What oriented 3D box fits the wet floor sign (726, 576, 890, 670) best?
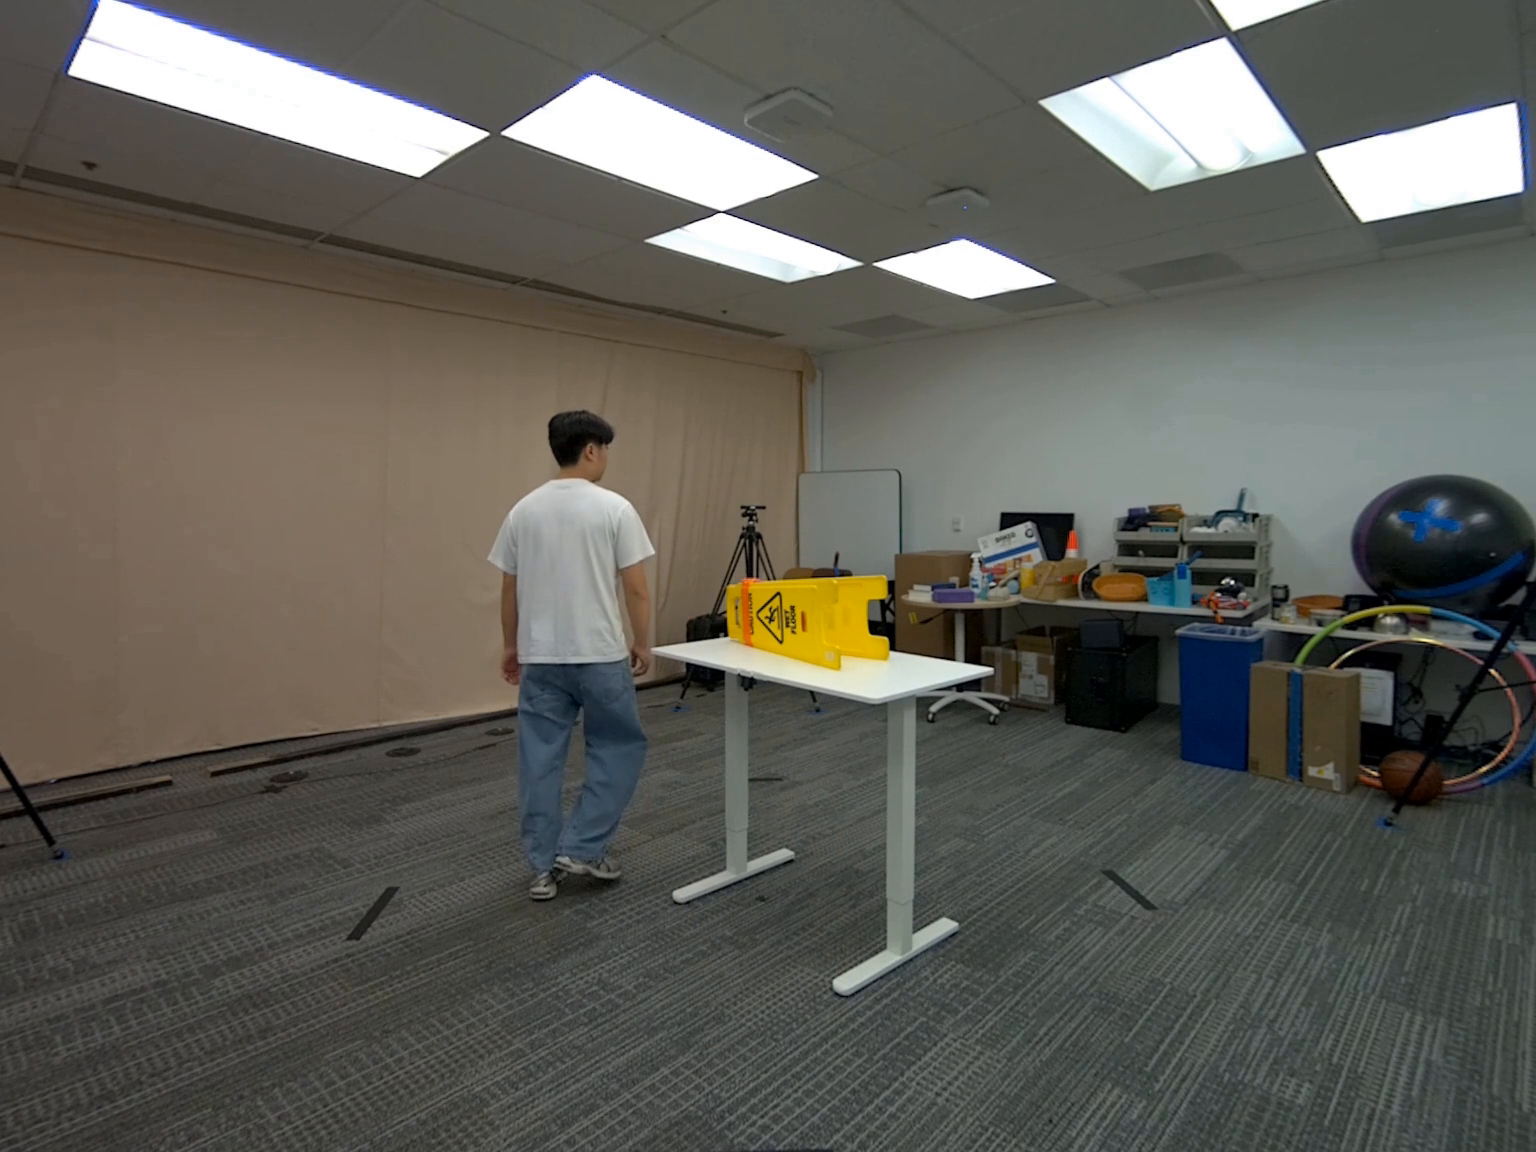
[{"bbox_3d":[0.080,0.142,2.918,0.281,0.282,0.667,-4,4,-43],"label":"wet floor sign"}]
